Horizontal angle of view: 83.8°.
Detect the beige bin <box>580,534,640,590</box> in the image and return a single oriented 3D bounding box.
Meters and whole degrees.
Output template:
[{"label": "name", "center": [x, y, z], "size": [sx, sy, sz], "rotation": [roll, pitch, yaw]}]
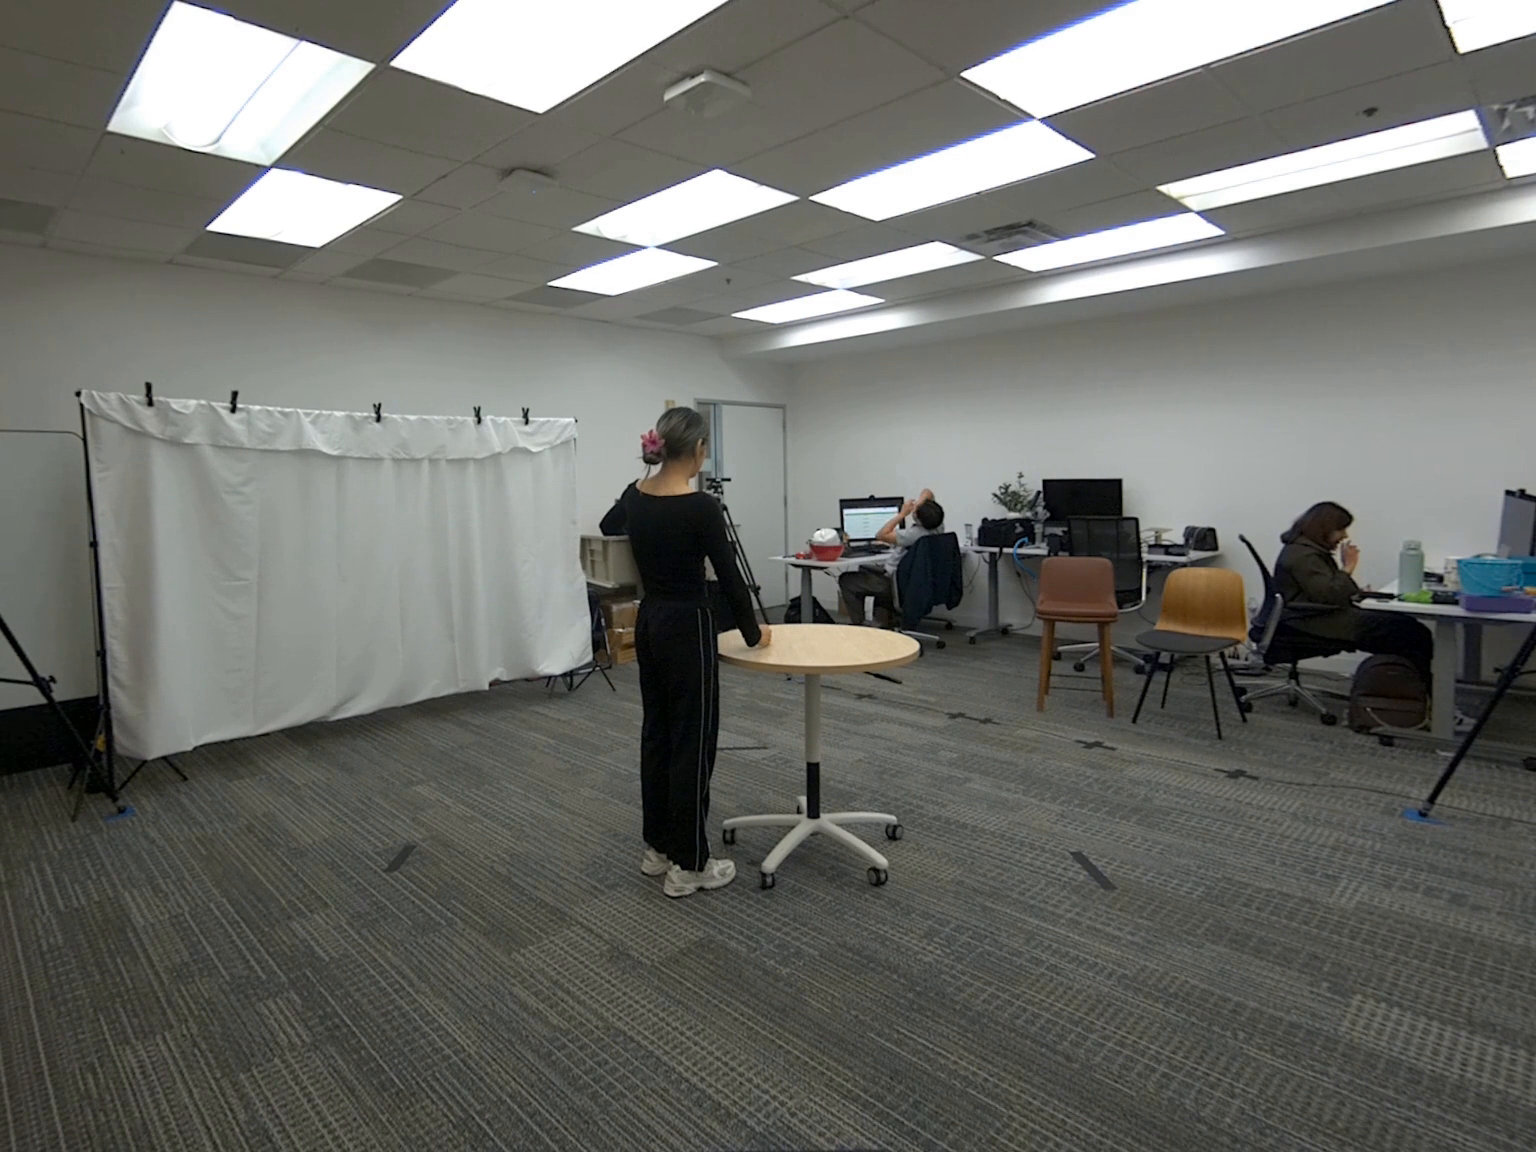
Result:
[{"label": "beige bin", "center": [-0.454, -0.074, 3.213], "size": [0.413, 0.188, 0.387], "rotation": [-4, 7, -27]}]
